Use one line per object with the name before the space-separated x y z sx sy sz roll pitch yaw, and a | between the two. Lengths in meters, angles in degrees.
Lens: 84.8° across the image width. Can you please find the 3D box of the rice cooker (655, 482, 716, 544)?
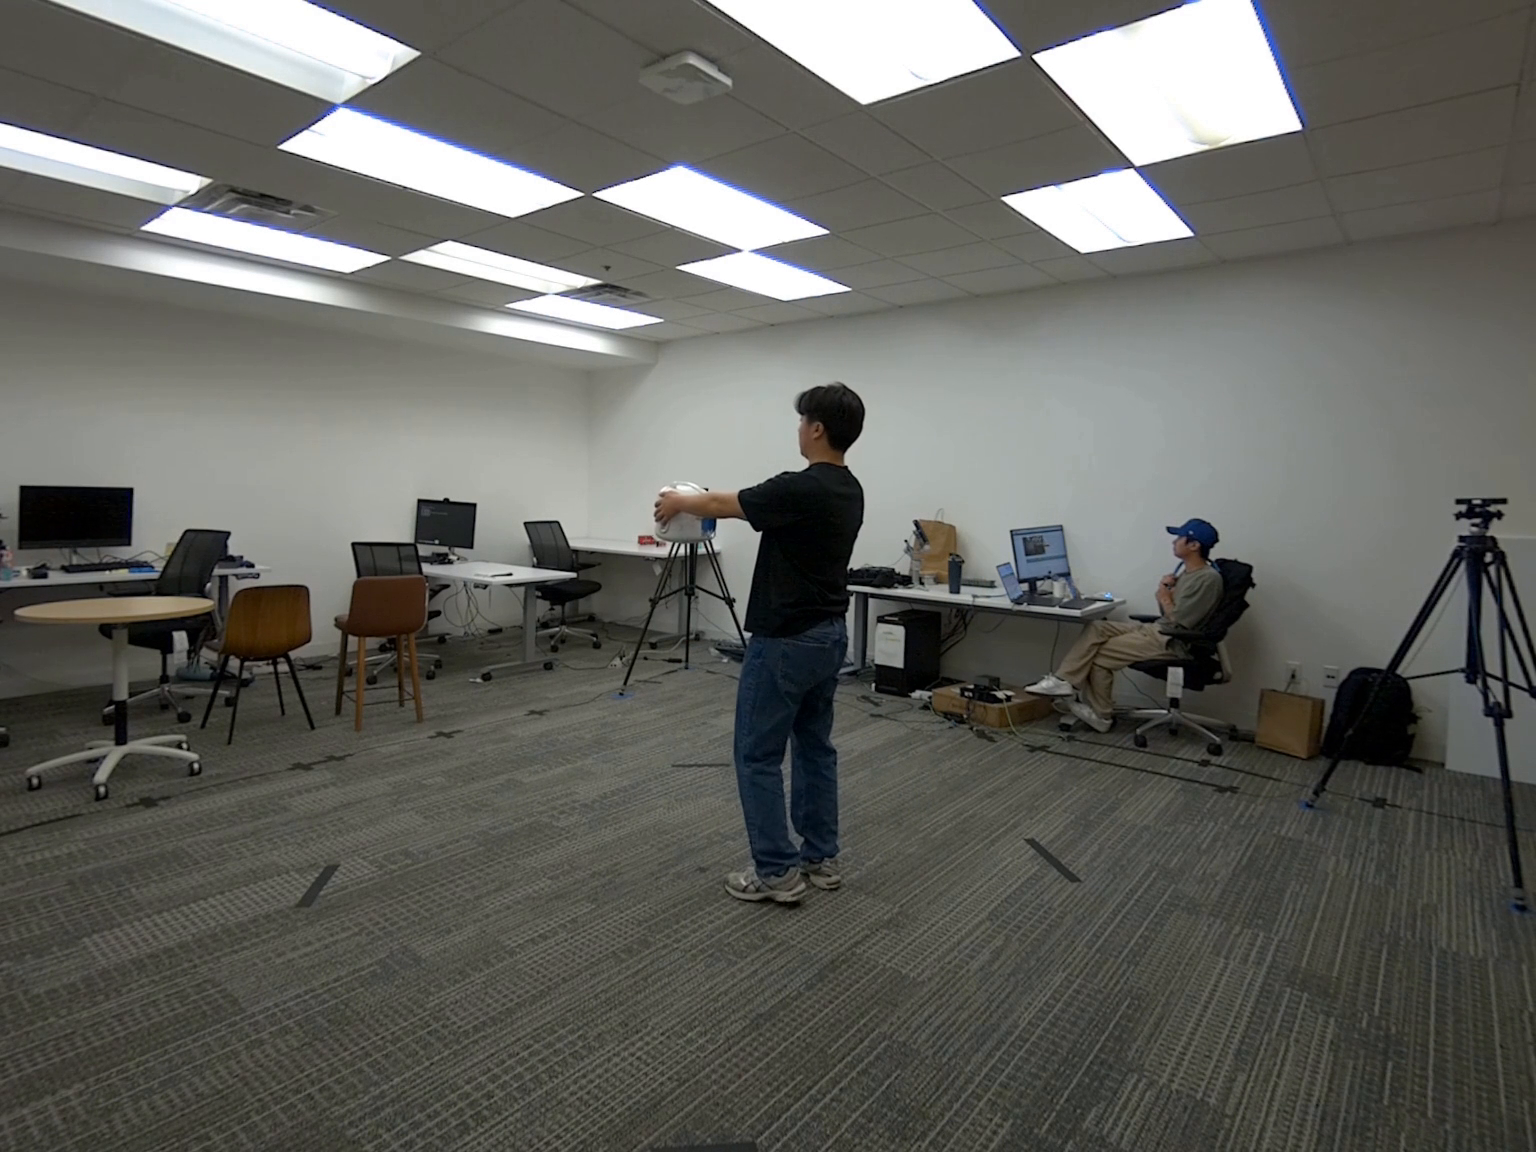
rice cooker | -0.342 -0.255 3.325 0.228 0.231 0.211 12 11 37
